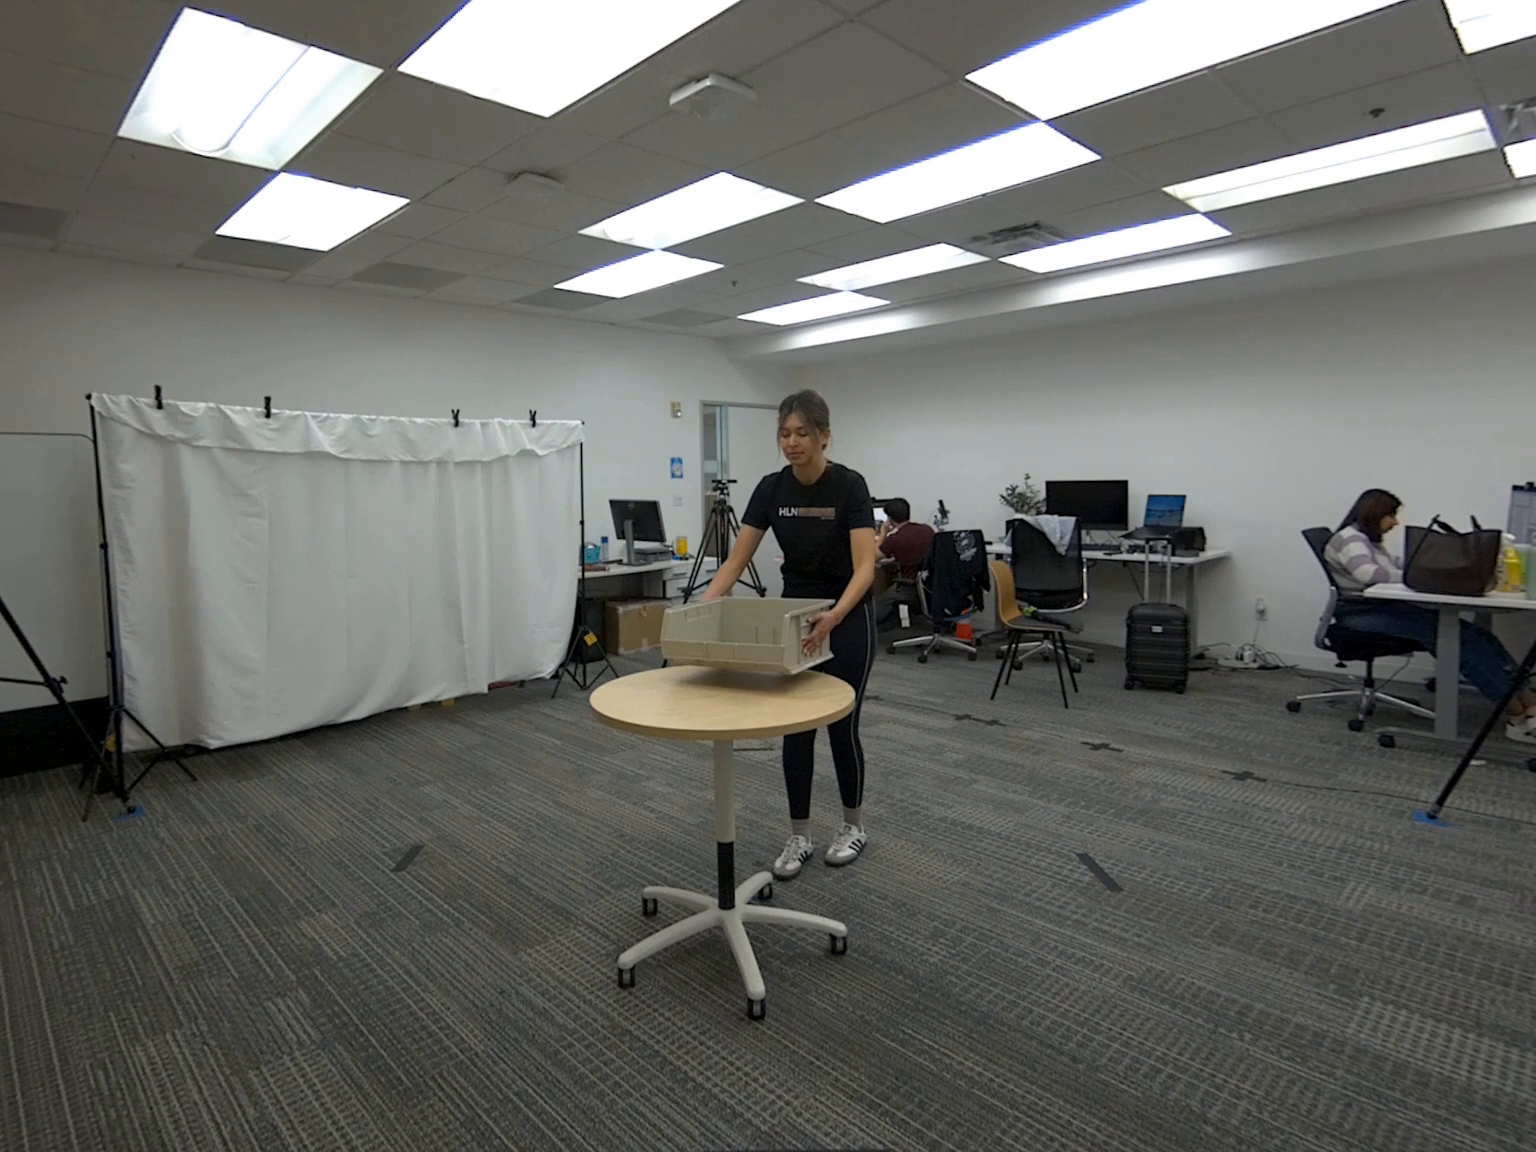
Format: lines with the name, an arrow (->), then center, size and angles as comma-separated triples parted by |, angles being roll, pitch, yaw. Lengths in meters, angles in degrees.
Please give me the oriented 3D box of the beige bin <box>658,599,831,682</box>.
beige bin -> -0.056, 0.184, 2.636 | 0.433, 0.189, 0.369 | 0, 3, 29
